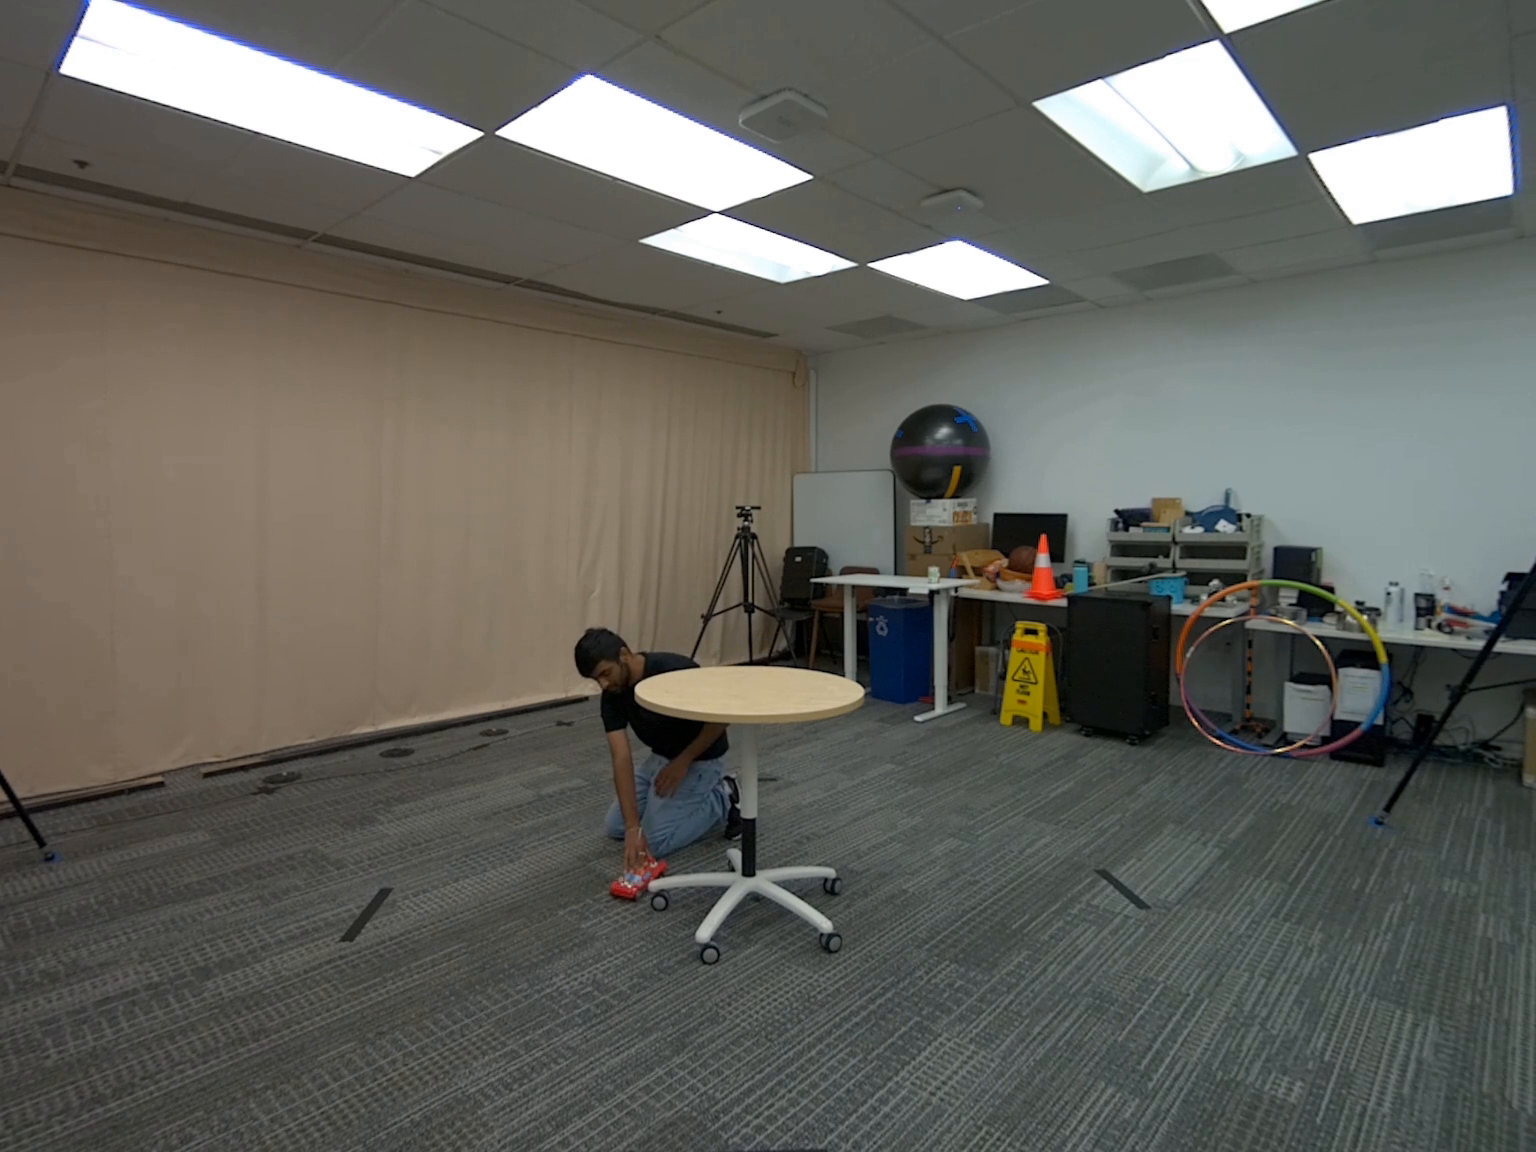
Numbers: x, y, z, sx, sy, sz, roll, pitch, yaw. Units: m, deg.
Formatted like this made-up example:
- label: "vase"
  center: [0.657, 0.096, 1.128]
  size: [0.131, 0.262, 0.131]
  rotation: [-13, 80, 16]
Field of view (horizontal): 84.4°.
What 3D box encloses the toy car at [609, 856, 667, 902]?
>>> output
- label: "toy car"
  center: [-0.465, 1.101, 3.079]
  size: [0.134, 0.082, 0.250]
  rotation: [-1, 15, 27]
